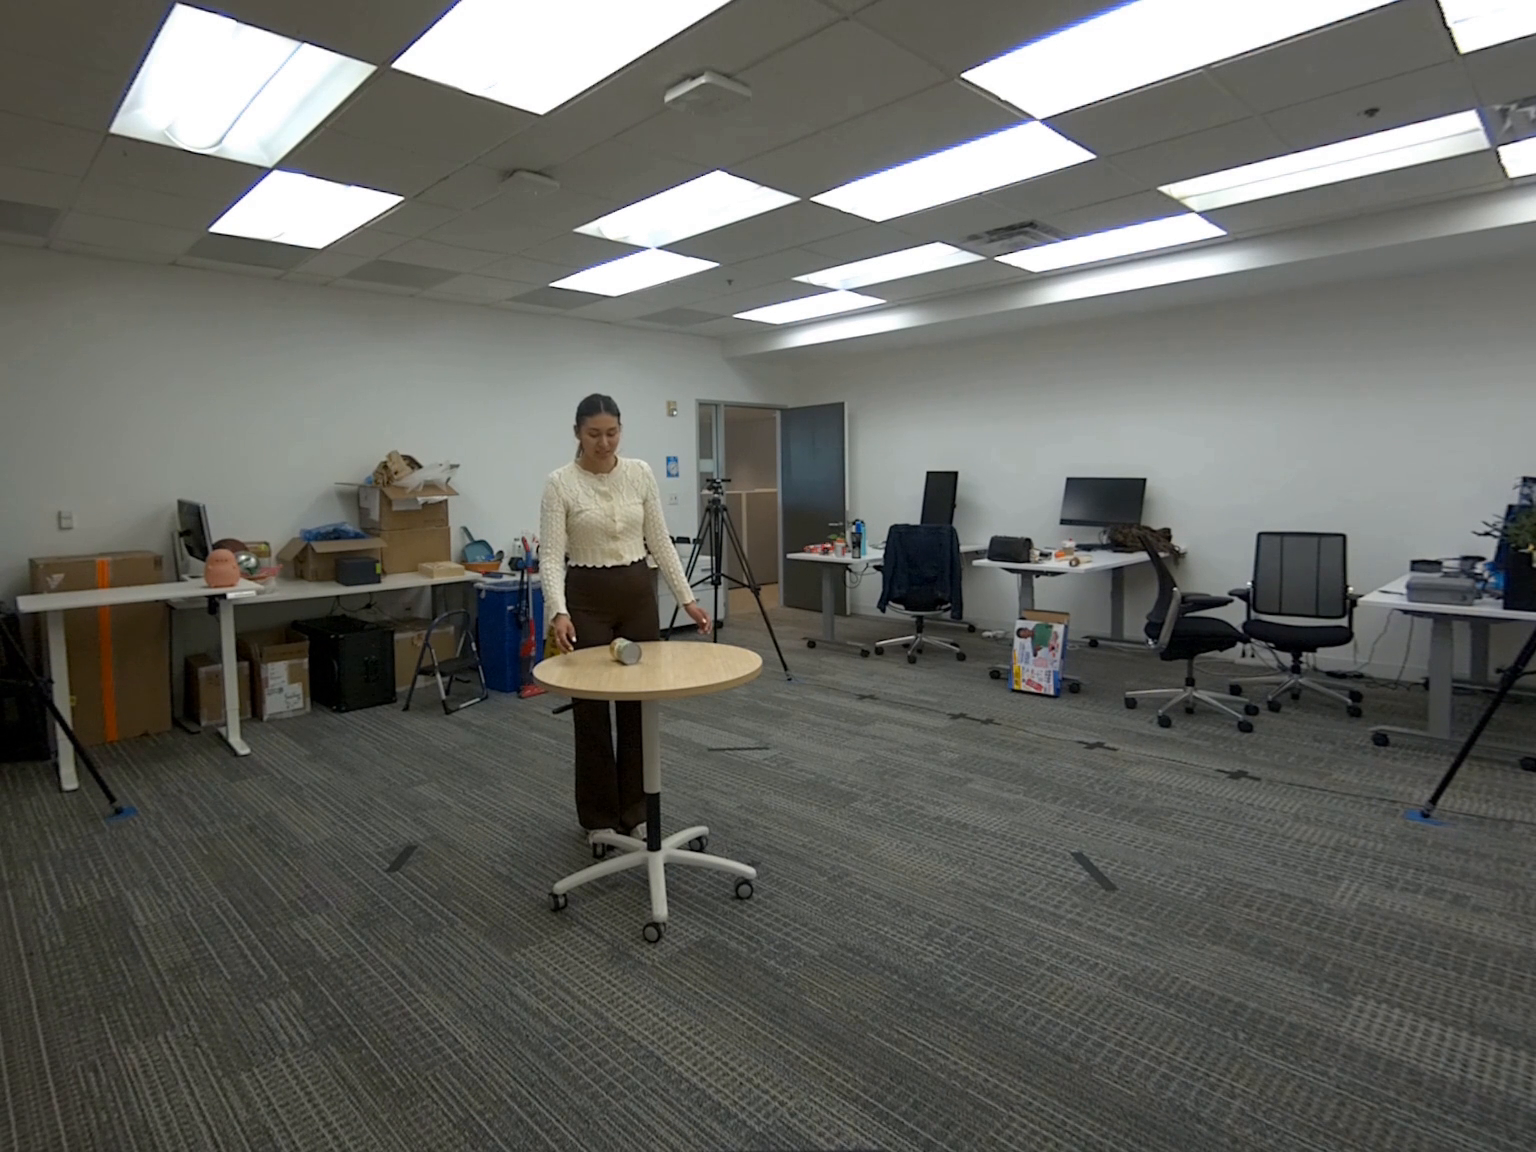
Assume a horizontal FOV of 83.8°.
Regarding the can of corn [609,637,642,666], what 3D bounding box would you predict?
[{"bbox_3d":[-0.491,0.256,2.902,0.073,0.074,0.113,-2,5,-14],"label":"can of corn"}]
